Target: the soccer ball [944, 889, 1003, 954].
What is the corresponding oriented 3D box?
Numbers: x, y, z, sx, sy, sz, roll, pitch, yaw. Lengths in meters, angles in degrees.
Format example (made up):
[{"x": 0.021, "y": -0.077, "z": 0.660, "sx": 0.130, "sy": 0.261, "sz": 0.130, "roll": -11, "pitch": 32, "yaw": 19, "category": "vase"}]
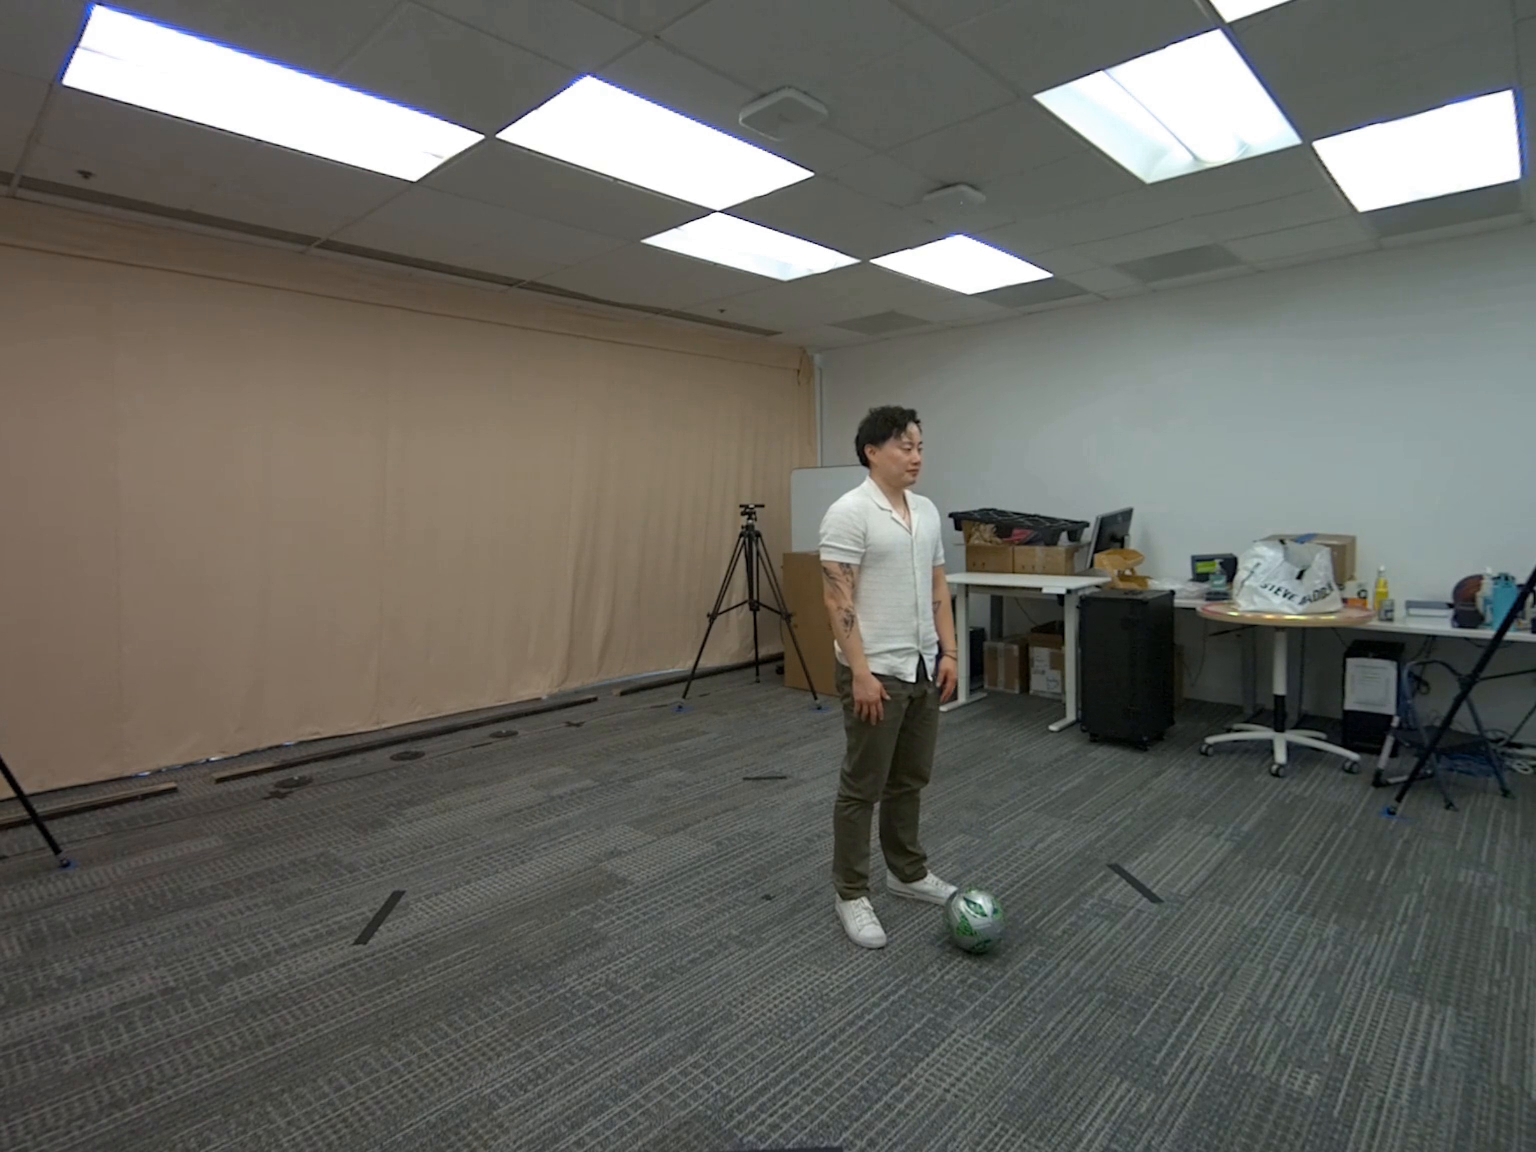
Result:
[{"x": 0.650, "y": 1.067, "z": 2.617, "sx": 0.187, "sy": 0.187, "sz": 0.188, "roll": -1, "pitch": 4, "yaw": -2, "category": "soccer ball"}]
